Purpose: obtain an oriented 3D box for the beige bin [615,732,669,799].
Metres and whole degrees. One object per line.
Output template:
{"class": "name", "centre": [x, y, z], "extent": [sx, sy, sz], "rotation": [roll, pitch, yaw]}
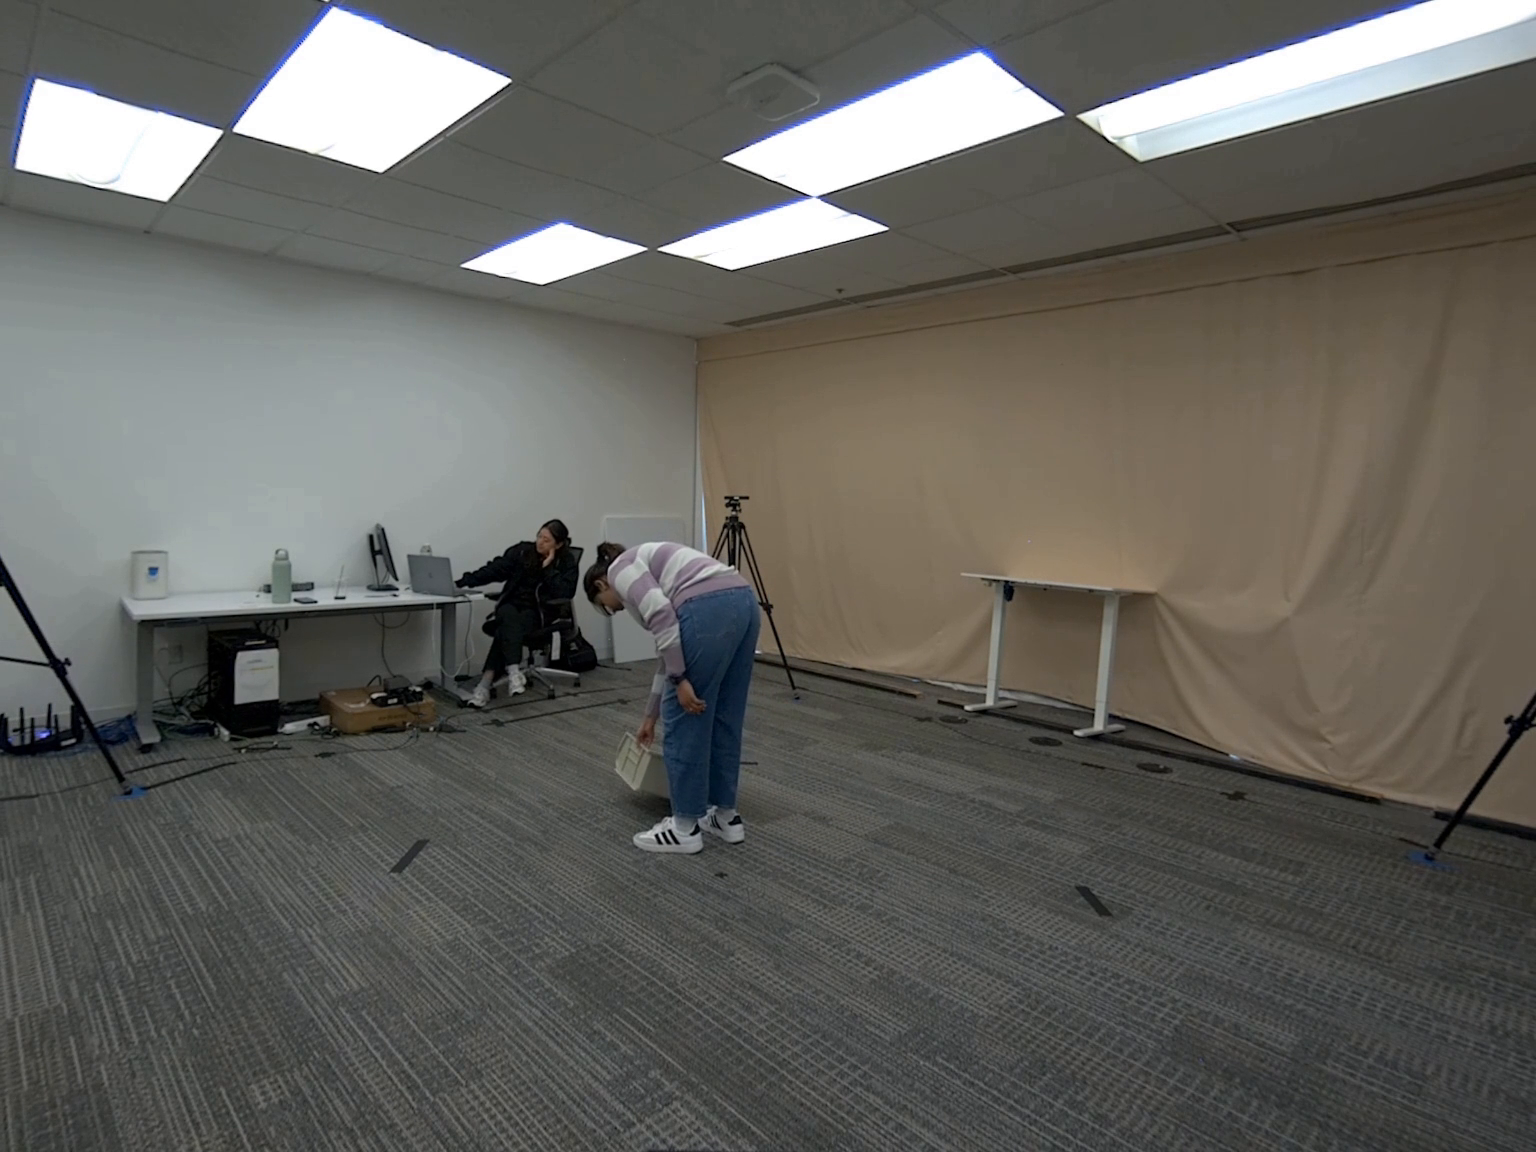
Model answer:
{"class": "beige bin", "centre": [-0.445, 0.876, 3.788], "extent": [0.413, 0.189, 0.385], "rotation": [23, -4, -23]}
